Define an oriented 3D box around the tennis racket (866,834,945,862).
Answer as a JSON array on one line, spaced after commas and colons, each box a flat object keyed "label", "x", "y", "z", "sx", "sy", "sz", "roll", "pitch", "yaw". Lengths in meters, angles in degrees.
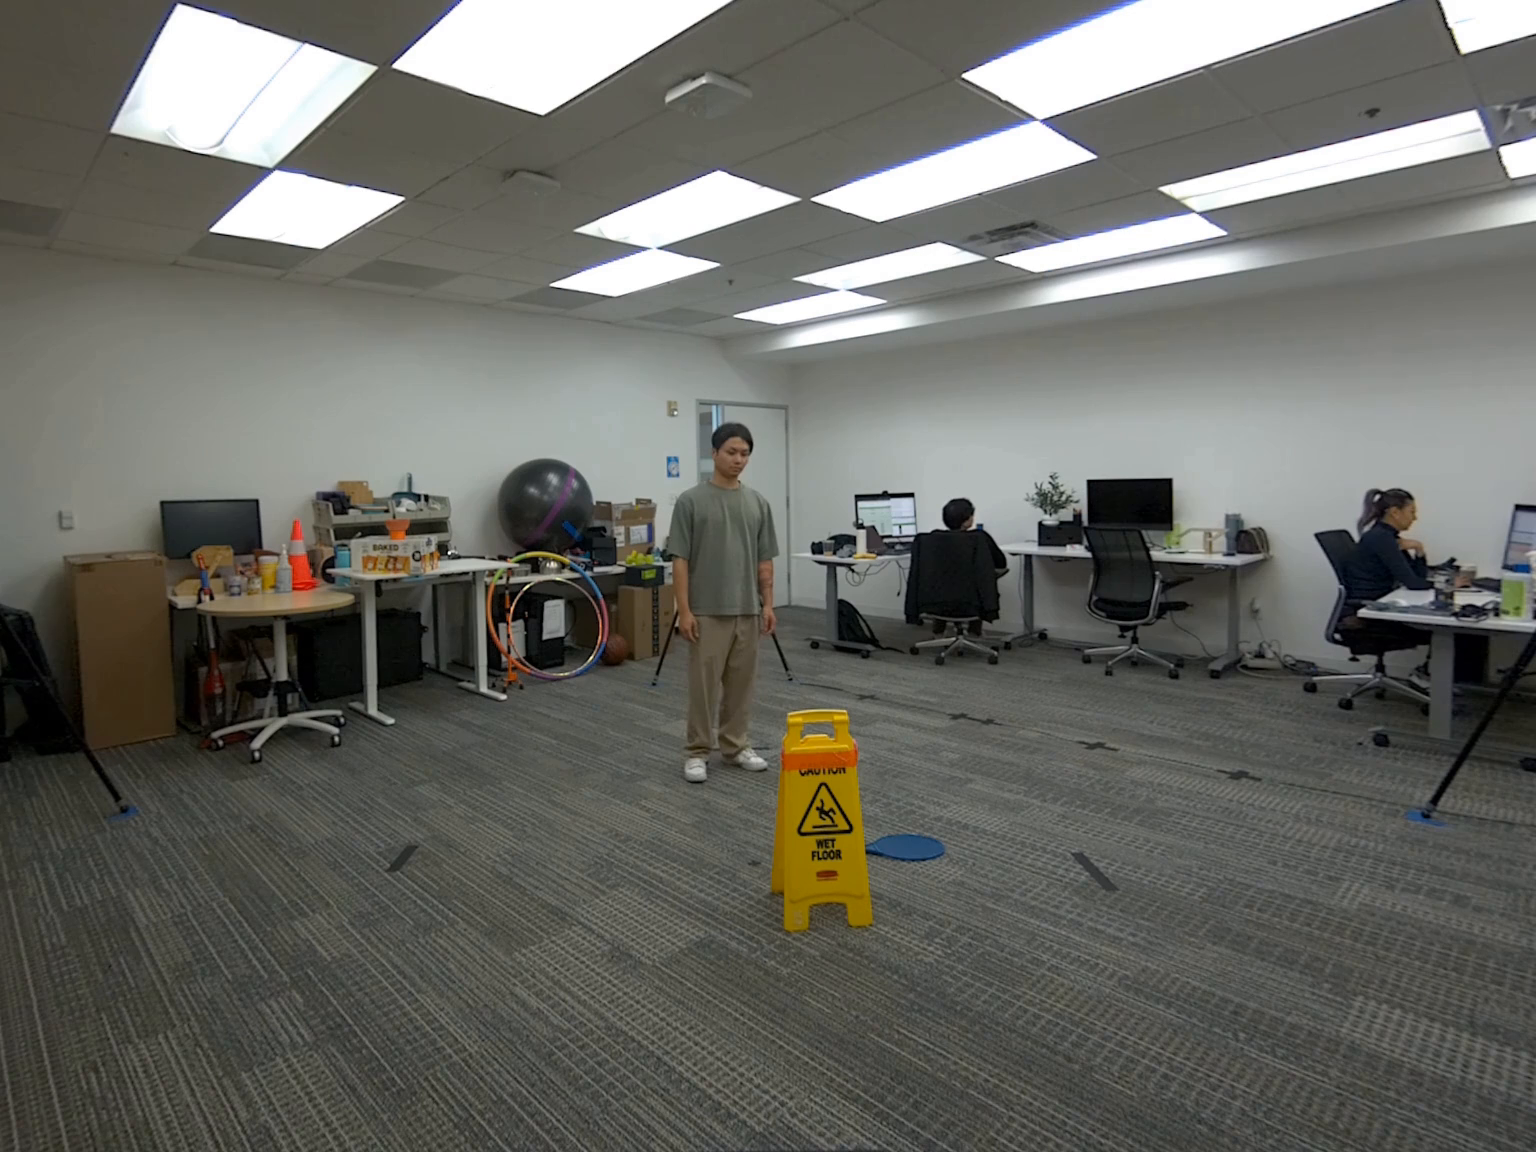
[{"label": "tennis racket", "x": 0.444, "y": 1.009, "z": 3.191, "sx": 0.429, "sy": 0.031, "sz": 0.216, "roll": 0, "pitch": 6, "yaw": -8}]
